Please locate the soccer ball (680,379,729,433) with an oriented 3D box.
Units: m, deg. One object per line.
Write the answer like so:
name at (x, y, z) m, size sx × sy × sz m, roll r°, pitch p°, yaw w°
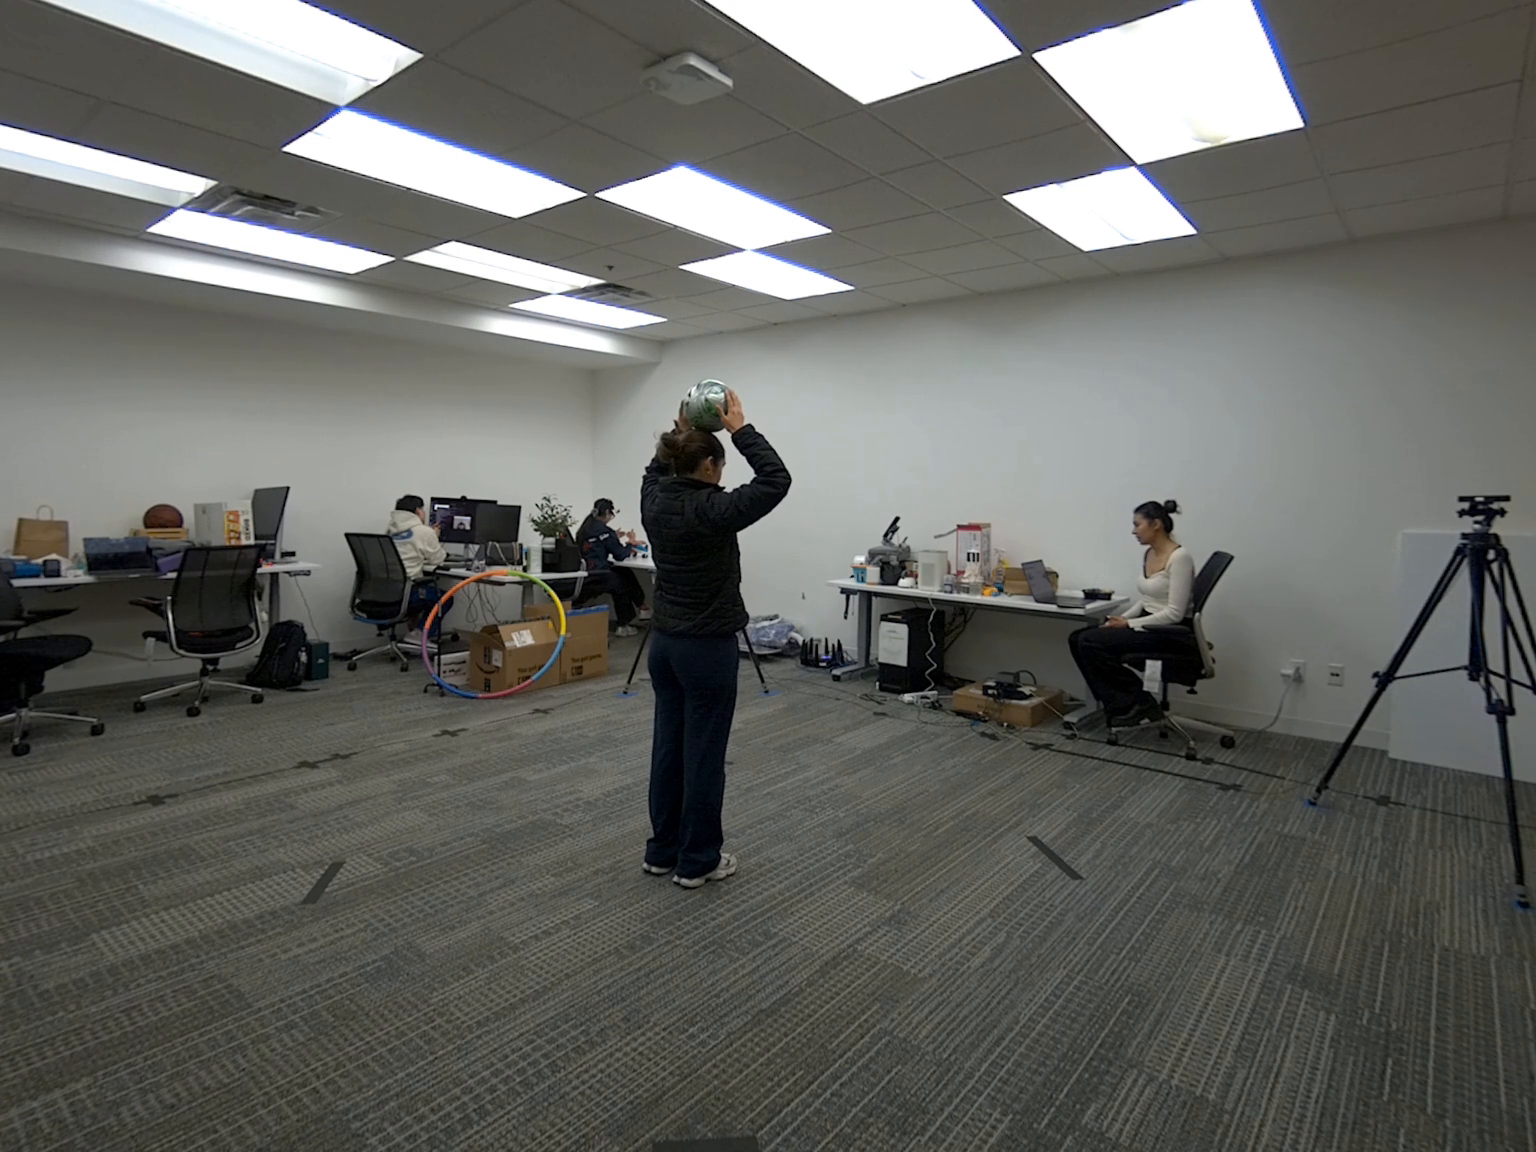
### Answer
soccer ball at (-0.218, -0.605, 3.030) m, size 0.187 × 0.187 × 0.188 m, roll 1°, pitch 4°, yaw -2°
